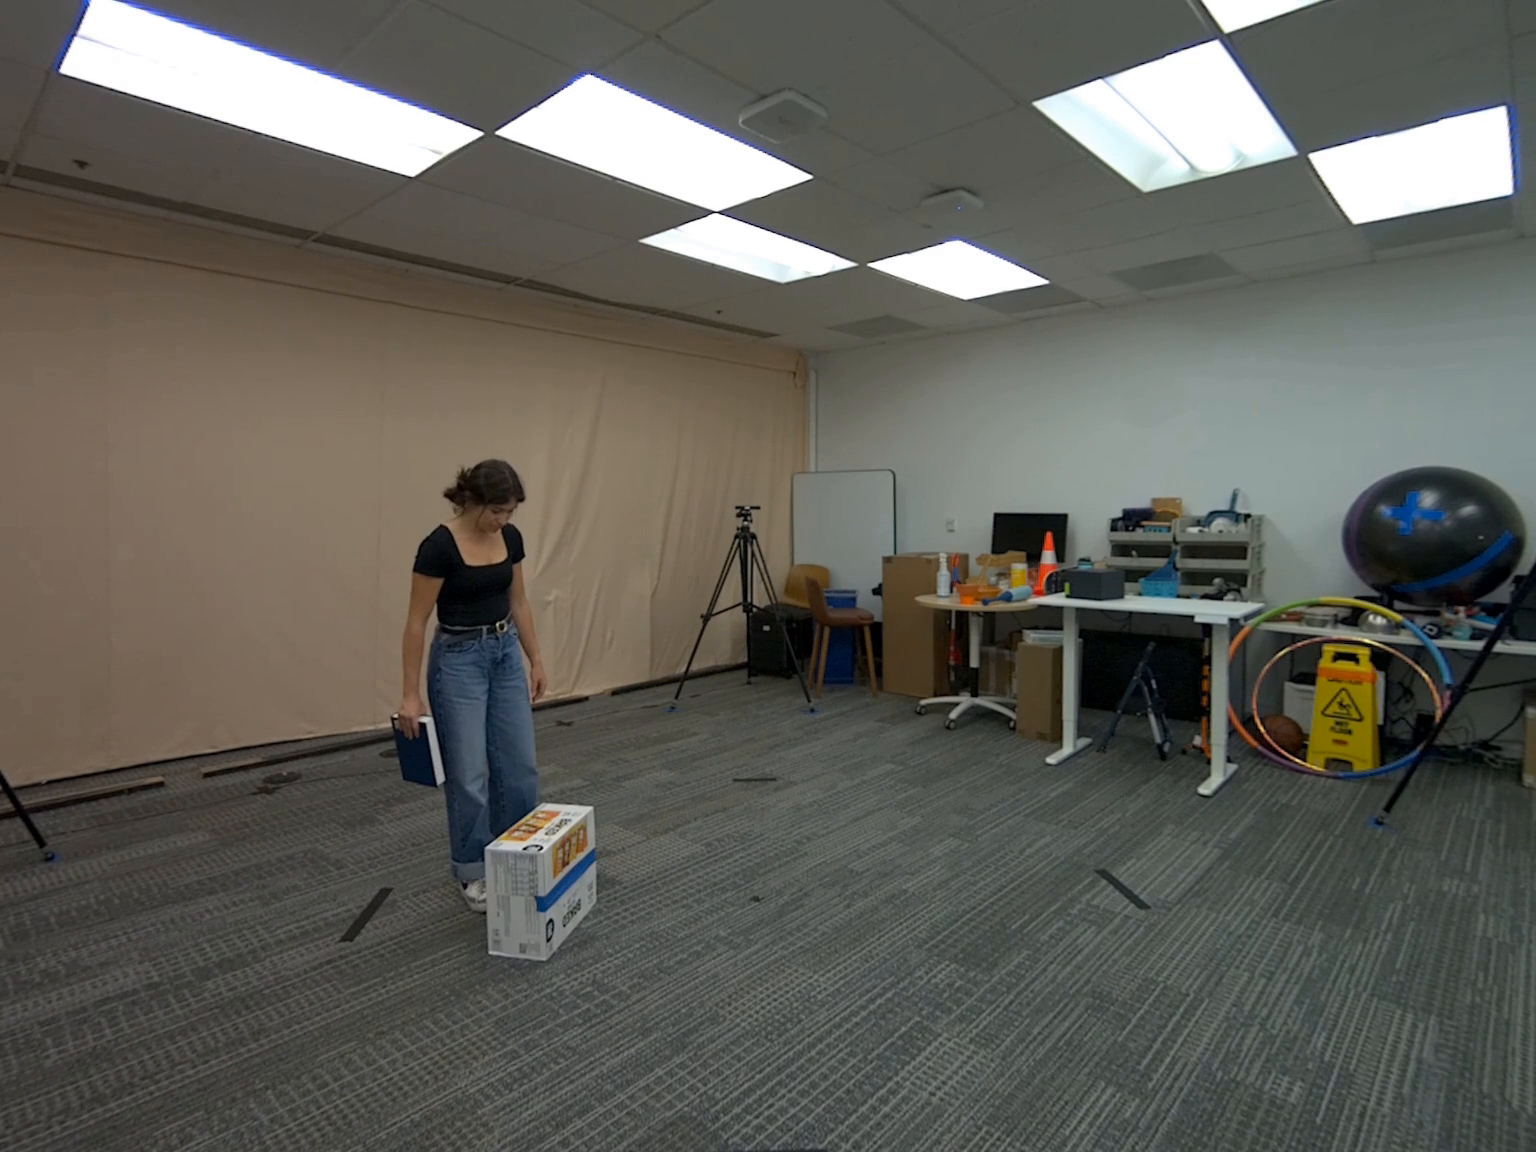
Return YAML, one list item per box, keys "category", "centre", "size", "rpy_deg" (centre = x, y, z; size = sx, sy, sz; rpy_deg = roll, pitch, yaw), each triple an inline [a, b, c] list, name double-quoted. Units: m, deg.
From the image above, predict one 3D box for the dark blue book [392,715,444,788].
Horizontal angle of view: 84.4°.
- category: "dark blue book"
  centre: [-1.192, 0.587, 2.862]
  size: [0.167, 0.242, 0.044]
  rpy_deg: [0, 15, 23]
